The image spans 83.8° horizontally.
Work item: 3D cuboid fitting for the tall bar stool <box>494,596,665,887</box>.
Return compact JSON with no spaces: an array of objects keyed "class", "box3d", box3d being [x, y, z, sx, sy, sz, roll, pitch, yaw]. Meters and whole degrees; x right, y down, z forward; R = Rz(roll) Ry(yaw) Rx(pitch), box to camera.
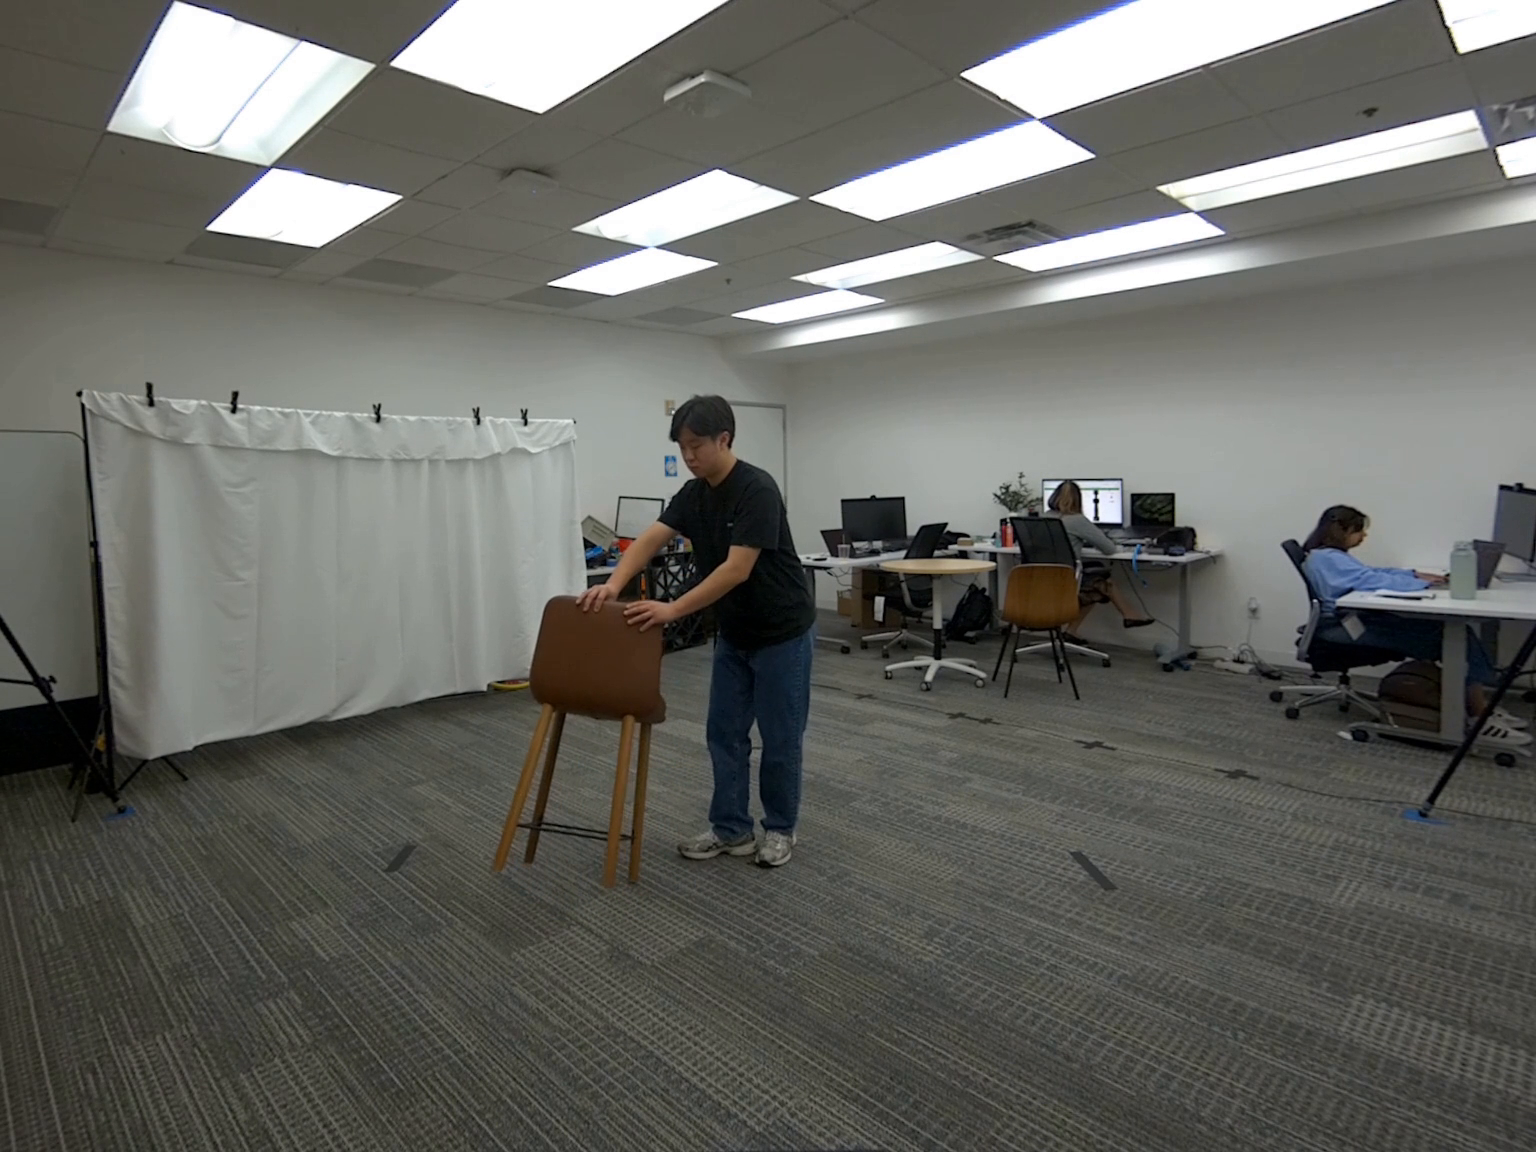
[{"class":"tall bar stool","box3d":[-0.608,0.568,2.919,0.459,0.901,0.460,6,-16,4]}]
